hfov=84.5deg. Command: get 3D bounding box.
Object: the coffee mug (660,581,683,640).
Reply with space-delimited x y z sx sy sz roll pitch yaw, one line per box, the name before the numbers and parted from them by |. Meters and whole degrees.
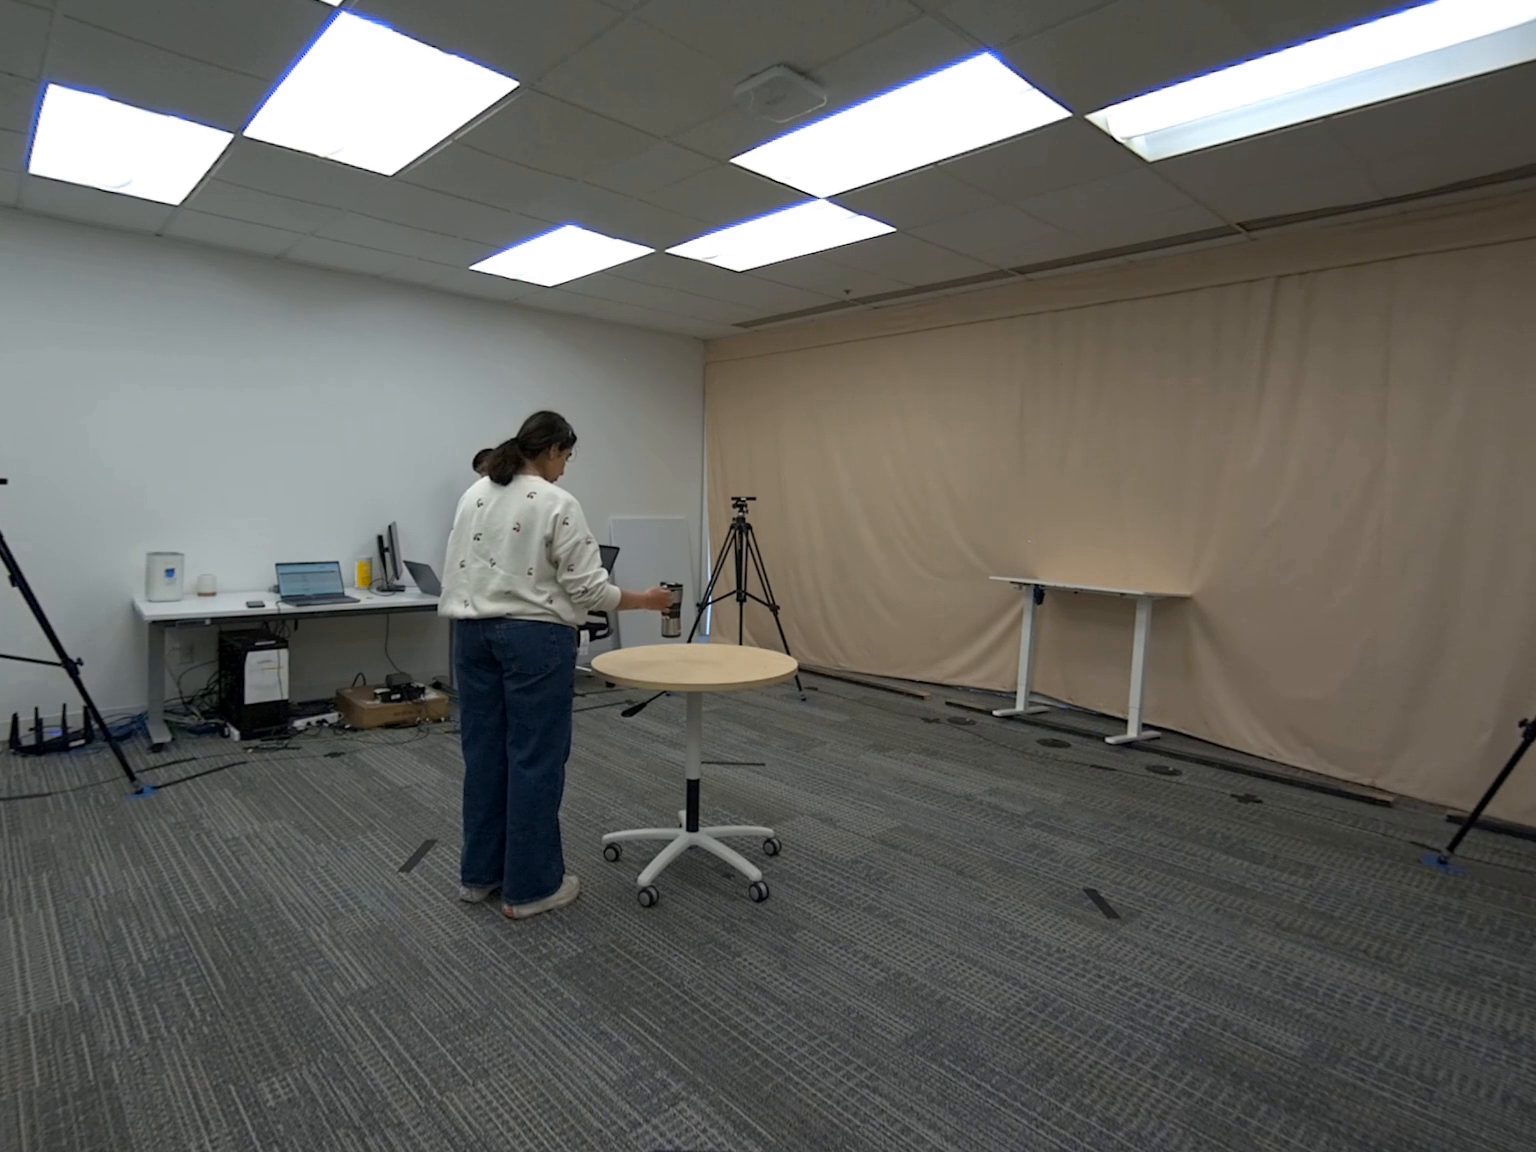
coffee mug | -0.377 0.128 3.109 0.119 0.202 0.090 2 3 -39
